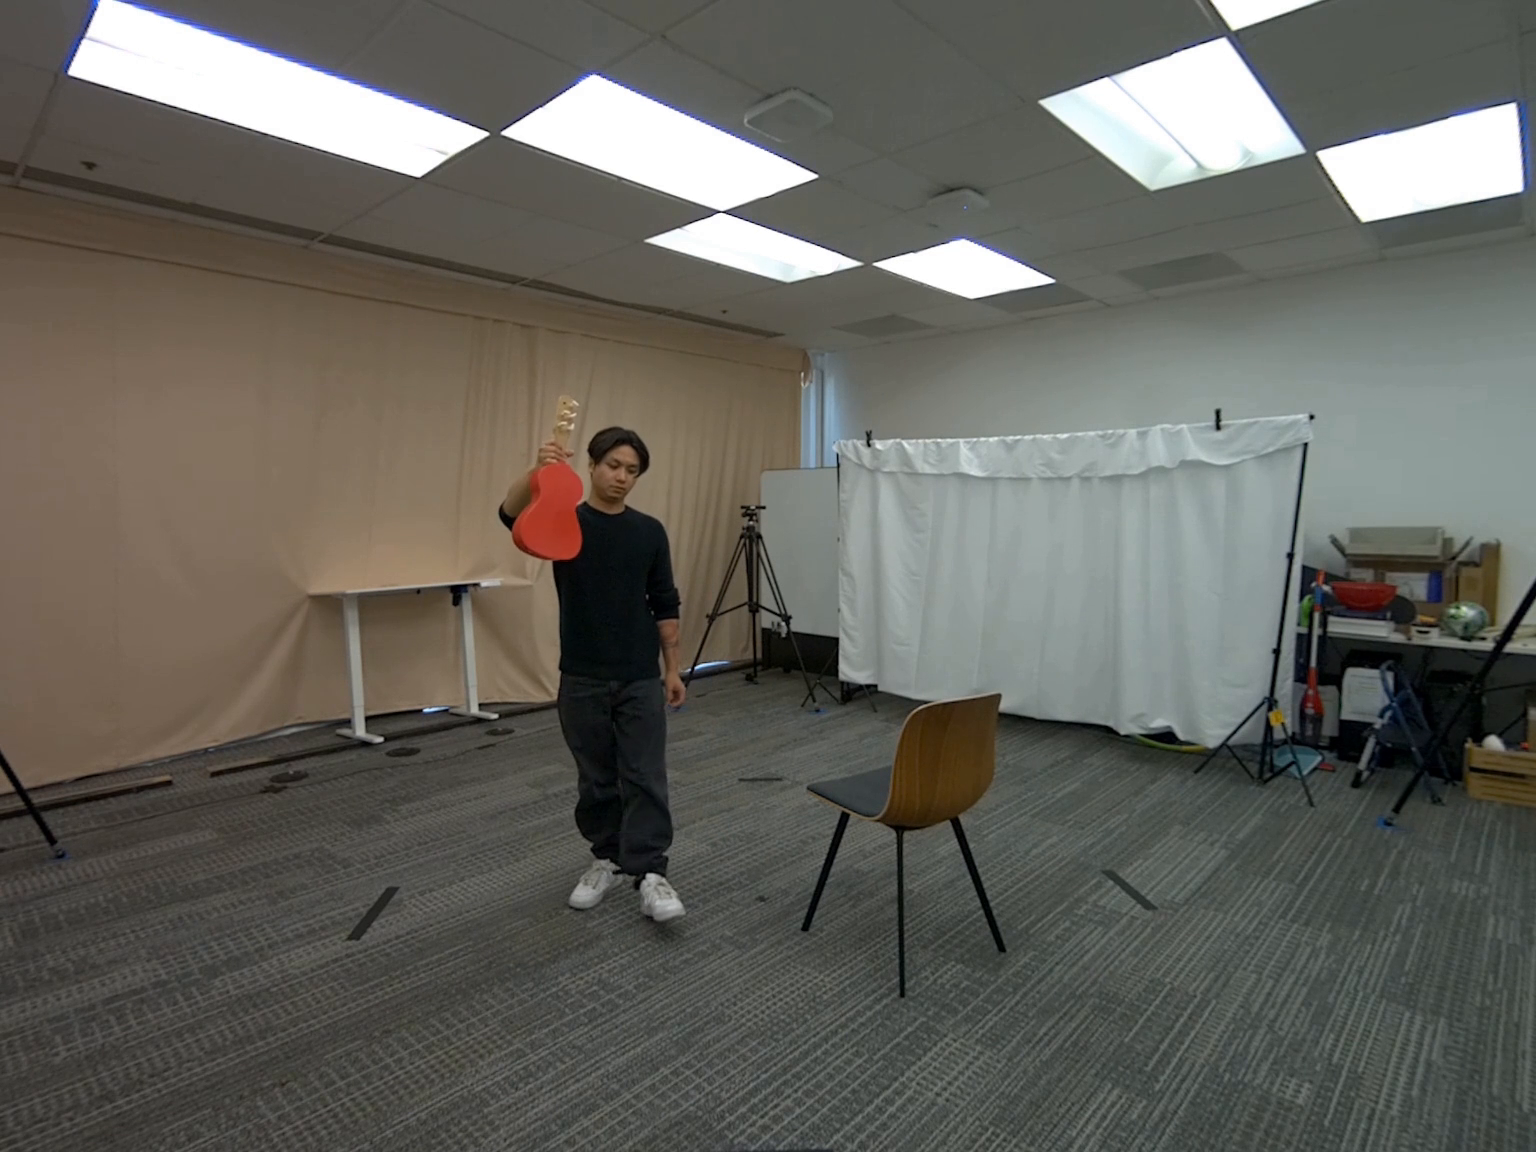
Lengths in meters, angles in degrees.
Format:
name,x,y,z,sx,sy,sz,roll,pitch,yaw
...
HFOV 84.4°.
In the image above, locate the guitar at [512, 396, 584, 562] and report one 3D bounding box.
name,x,y,z,sx,sy,sz,roll,pitch,yaw
guitar,-0.620,-0.294,2.413,0.186,0.501,0.073,8,-12,-42
